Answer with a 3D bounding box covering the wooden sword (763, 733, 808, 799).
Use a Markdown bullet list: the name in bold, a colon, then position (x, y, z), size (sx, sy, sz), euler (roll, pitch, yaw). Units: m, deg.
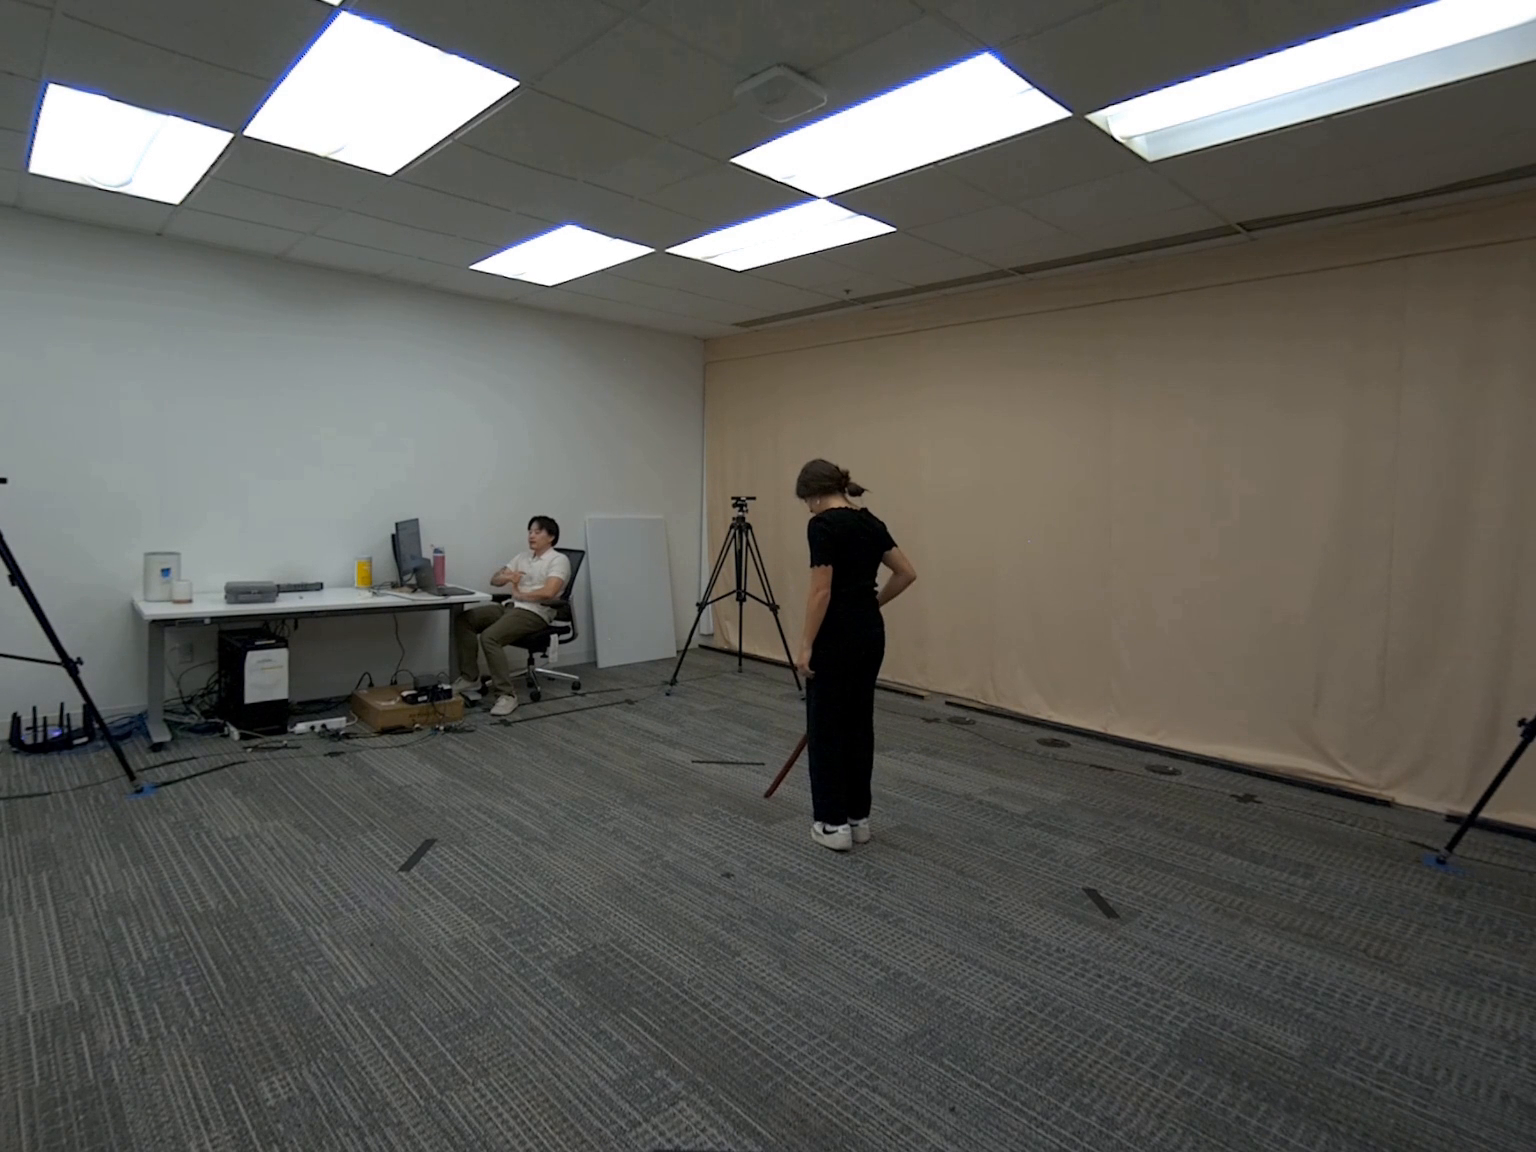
- **wooden sword**: position (0.214, 0.637, 3.799), size (0.052, 1.021, 0.023), euler (42, 19, 26)
